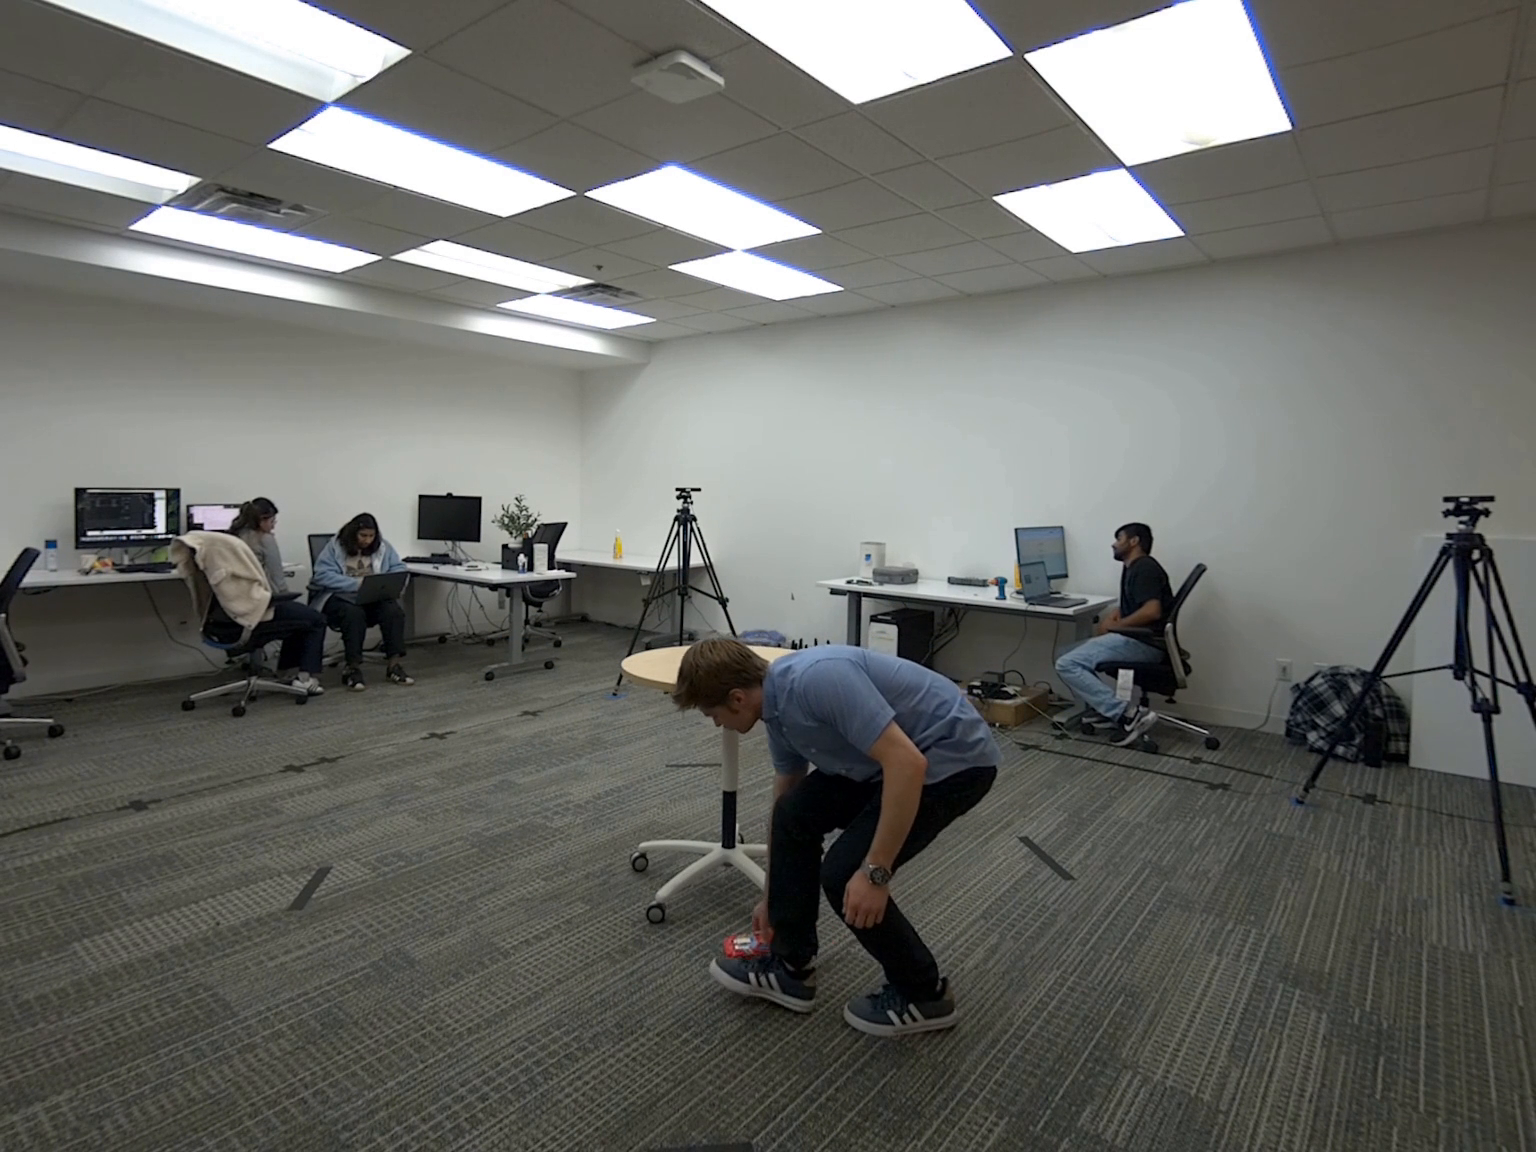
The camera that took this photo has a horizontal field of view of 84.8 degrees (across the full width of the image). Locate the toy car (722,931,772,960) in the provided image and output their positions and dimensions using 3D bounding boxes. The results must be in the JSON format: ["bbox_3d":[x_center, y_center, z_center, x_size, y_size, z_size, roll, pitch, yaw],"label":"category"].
[{"bbox_3d":[-0.007,1.106,2.511,0.252,0.083,0.132,-11,6,-9],"label":"toy car"}]
